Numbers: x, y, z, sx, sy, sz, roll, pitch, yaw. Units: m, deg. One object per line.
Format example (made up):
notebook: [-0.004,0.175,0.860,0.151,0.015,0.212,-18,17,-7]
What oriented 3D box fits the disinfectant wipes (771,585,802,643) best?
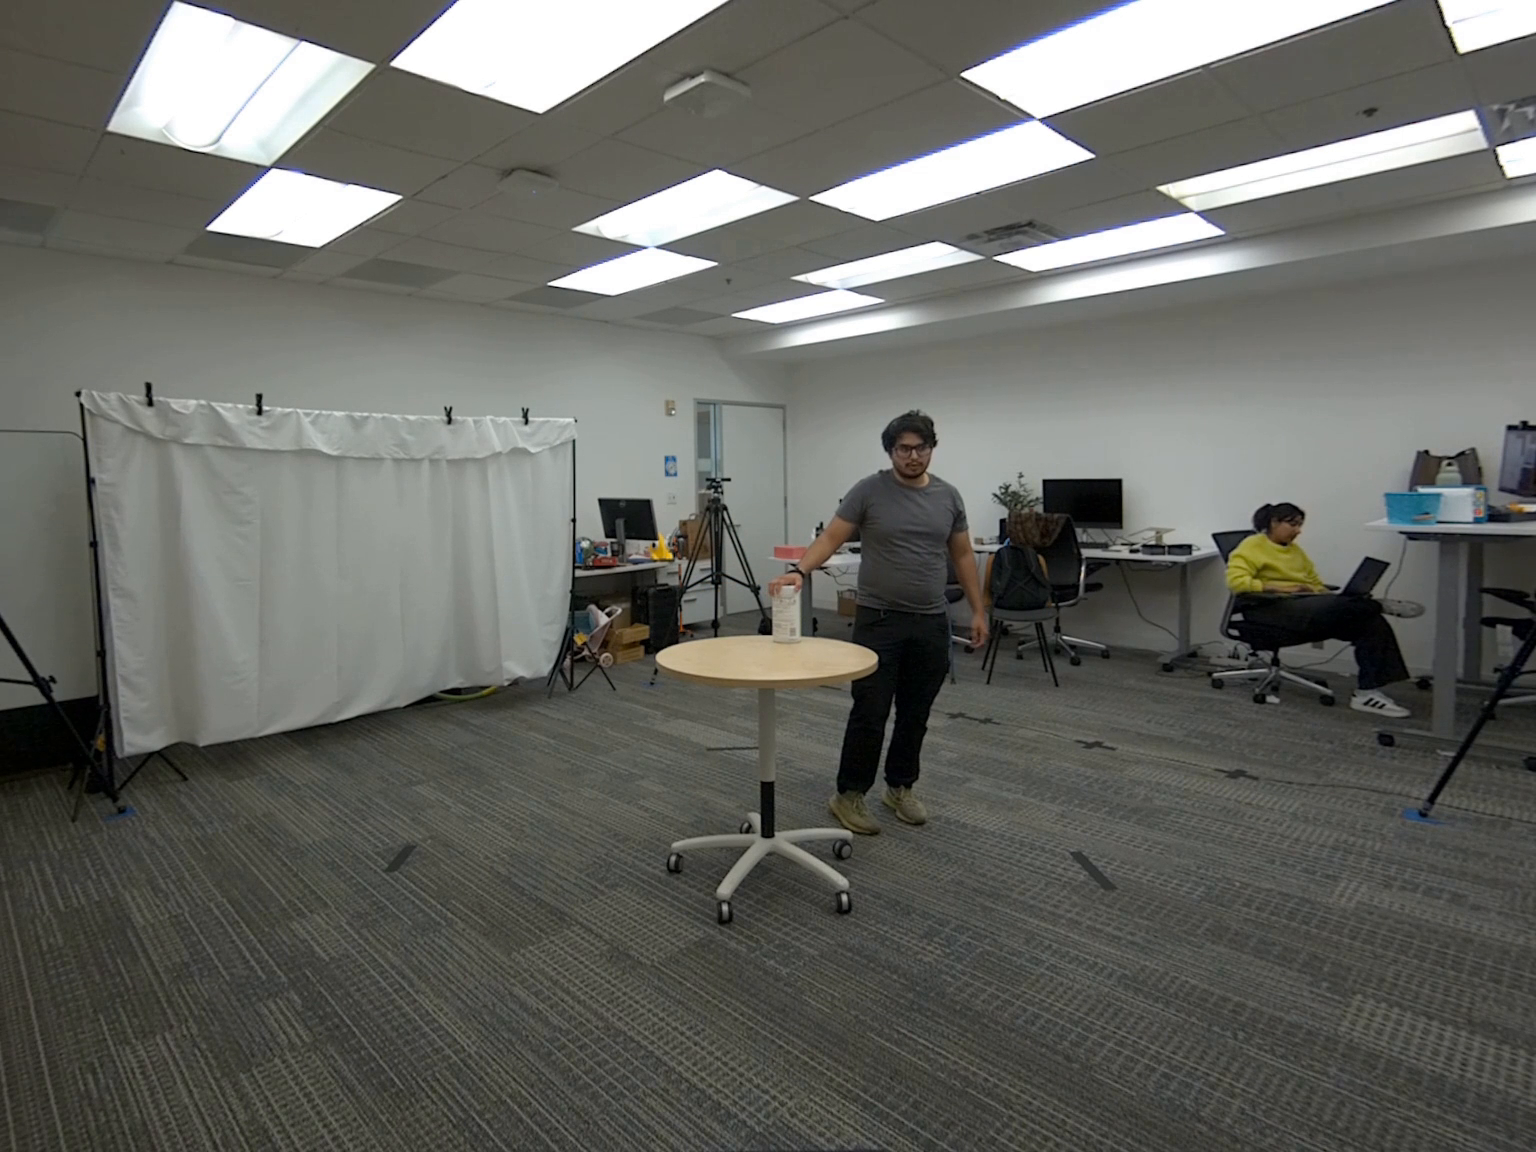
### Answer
disinfectant wipes: [0.074,0.138,3.221,0.118,0.217,0.118,-1,0,-2]
